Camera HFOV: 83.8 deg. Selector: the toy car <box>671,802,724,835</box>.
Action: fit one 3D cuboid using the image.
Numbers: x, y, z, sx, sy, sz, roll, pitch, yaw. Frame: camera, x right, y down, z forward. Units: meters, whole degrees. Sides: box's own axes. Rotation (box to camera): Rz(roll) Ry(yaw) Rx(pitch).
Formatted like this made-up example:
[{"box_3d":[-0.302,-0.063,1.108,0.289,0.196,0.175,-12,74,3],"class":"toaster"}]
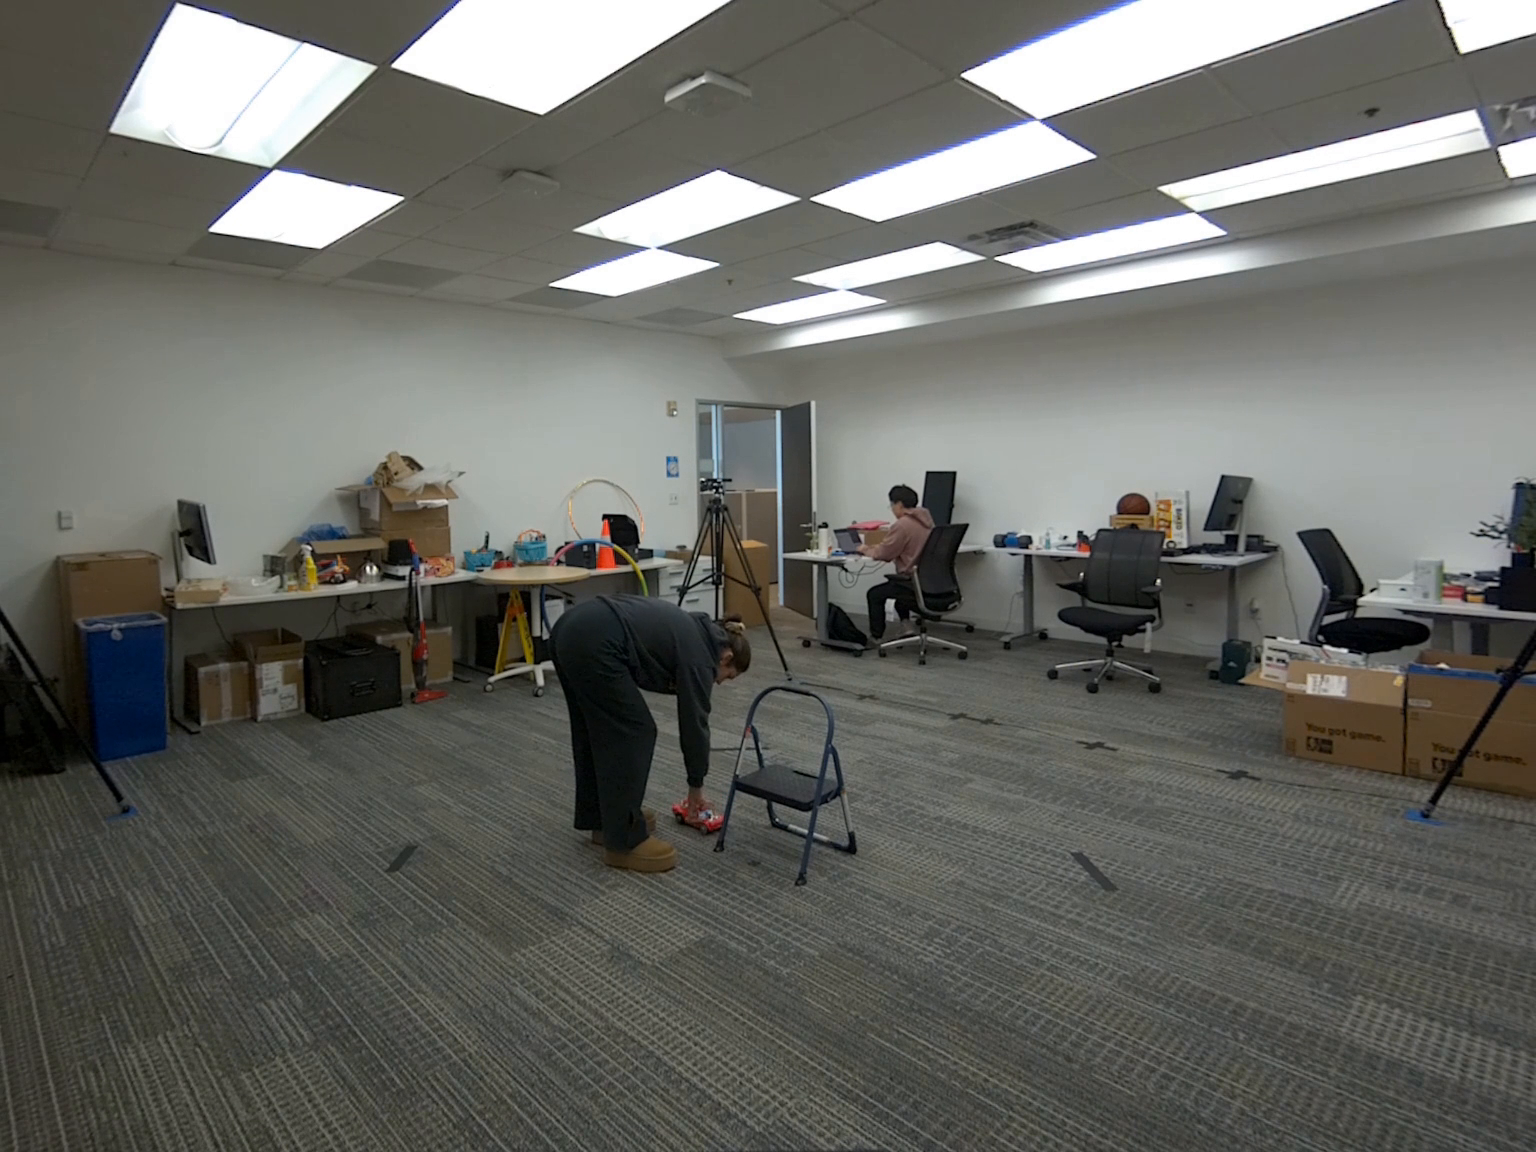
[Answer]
[{"box_3d":[-0.284,0.978,3.461,0.127,0.082,0.264,-5,17,-43],"class":"toy car"}]
